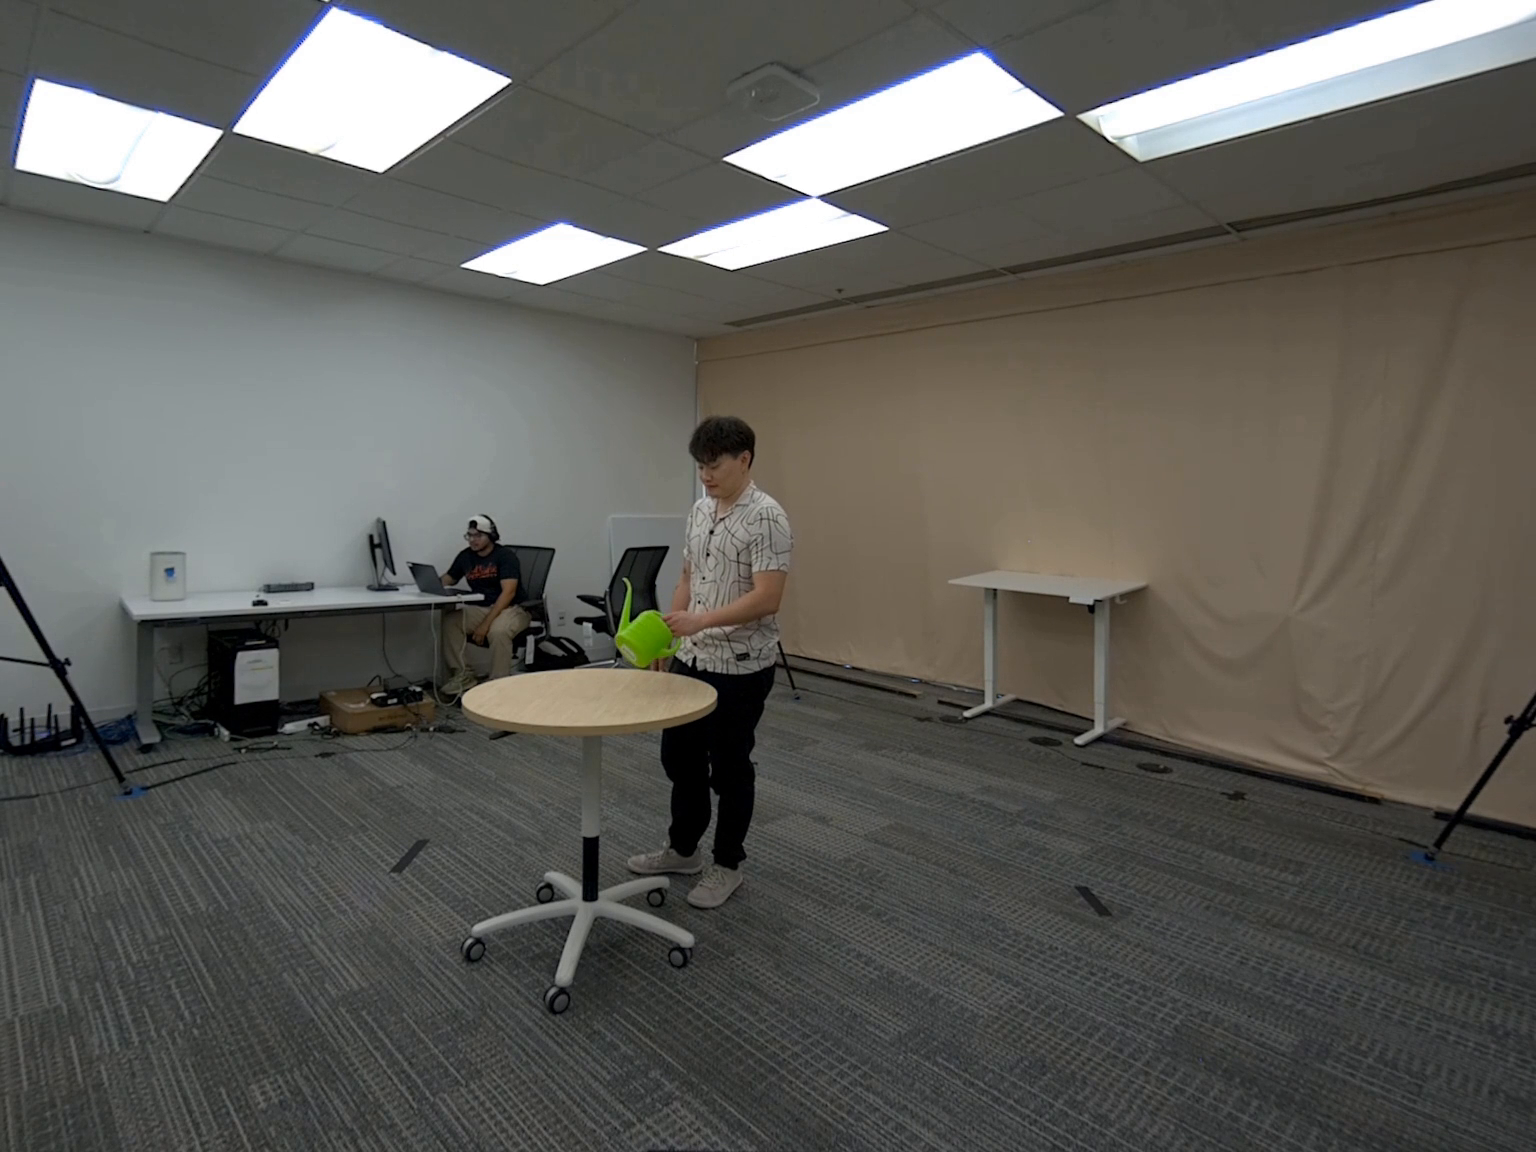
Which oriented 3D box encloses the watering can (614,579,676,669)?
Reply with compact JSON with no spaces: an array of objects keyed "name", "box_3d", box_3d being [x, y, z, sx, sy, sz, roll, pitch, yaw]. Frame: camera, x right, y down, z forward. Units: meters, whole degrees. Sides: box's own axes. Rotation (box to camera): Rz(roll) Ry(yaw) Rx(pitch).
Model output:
[{"name":"watering can","box_3d":[-0.410,0.163,2.594,0.283,0.096,0.176,34,49,15]}]
